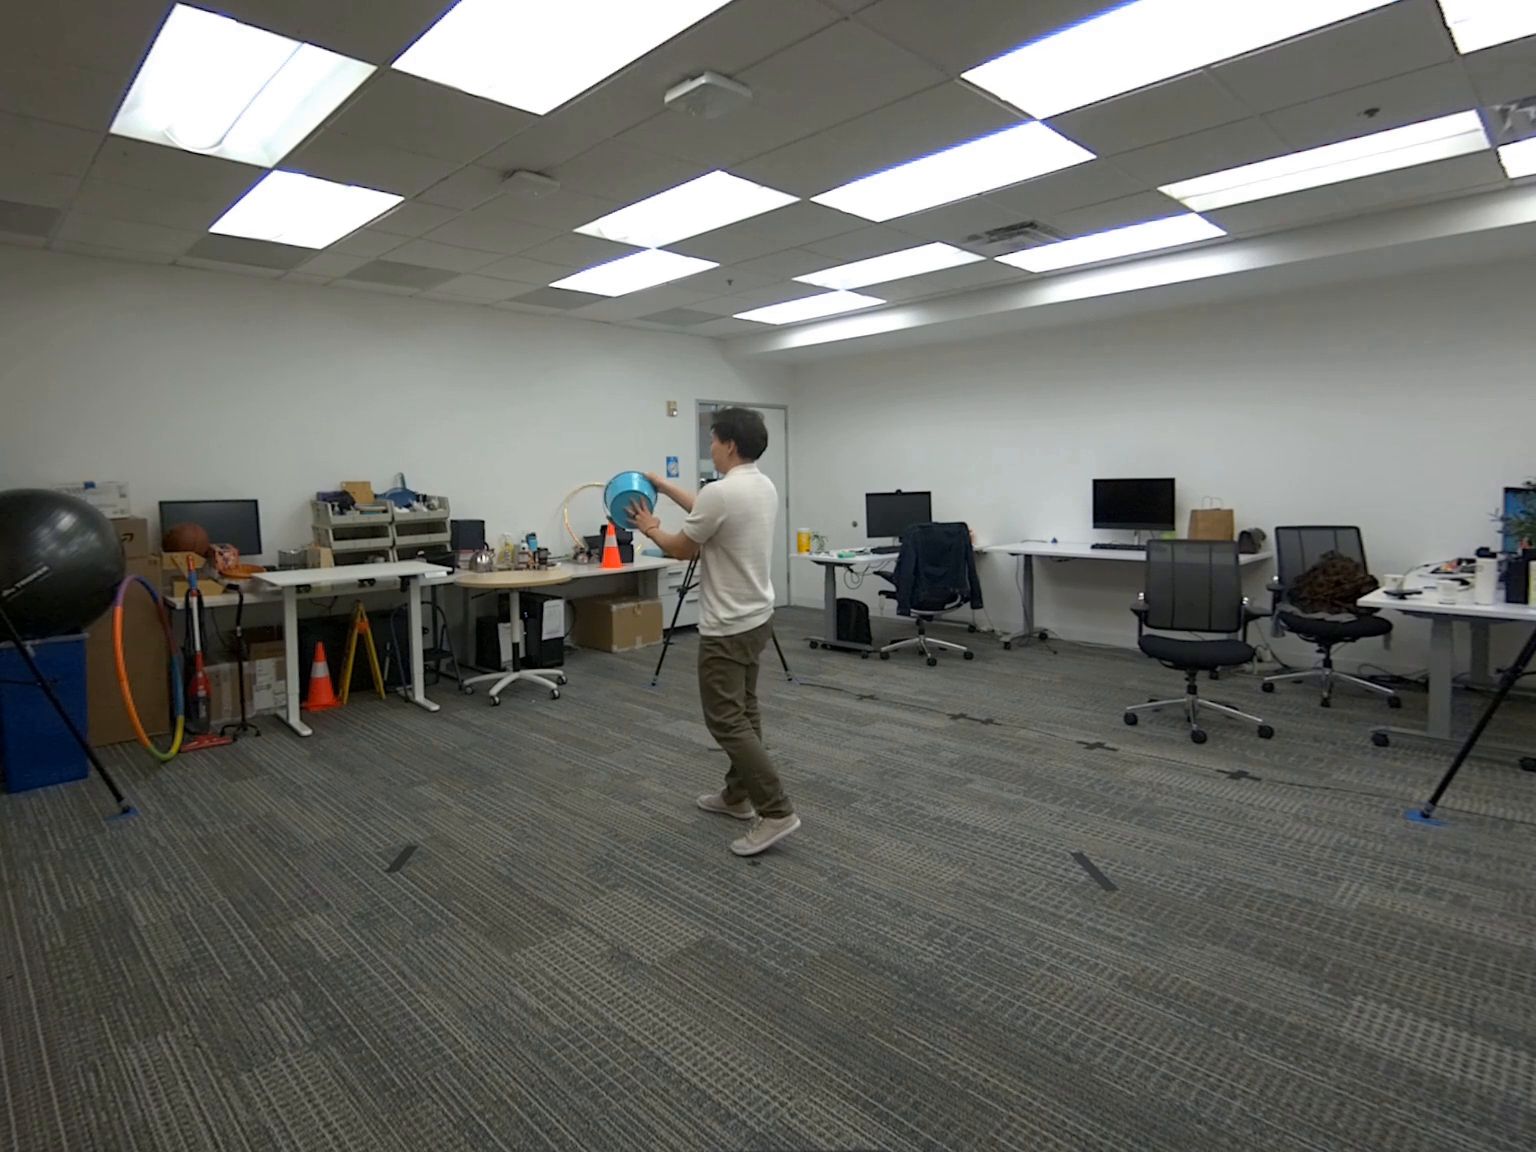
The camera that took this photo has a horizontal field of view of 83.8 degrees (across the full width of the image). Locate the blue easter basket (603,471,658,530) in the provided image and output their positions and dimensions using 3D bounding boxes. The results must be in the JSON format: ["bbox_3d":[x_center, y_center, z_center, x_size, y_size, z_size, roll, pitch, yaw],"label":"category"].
[{"bbox_3d":[-0.580,-0.305,3.647,0.241,0.239,0.160,-2,25,-10],"label":"blue easter basket"}]
